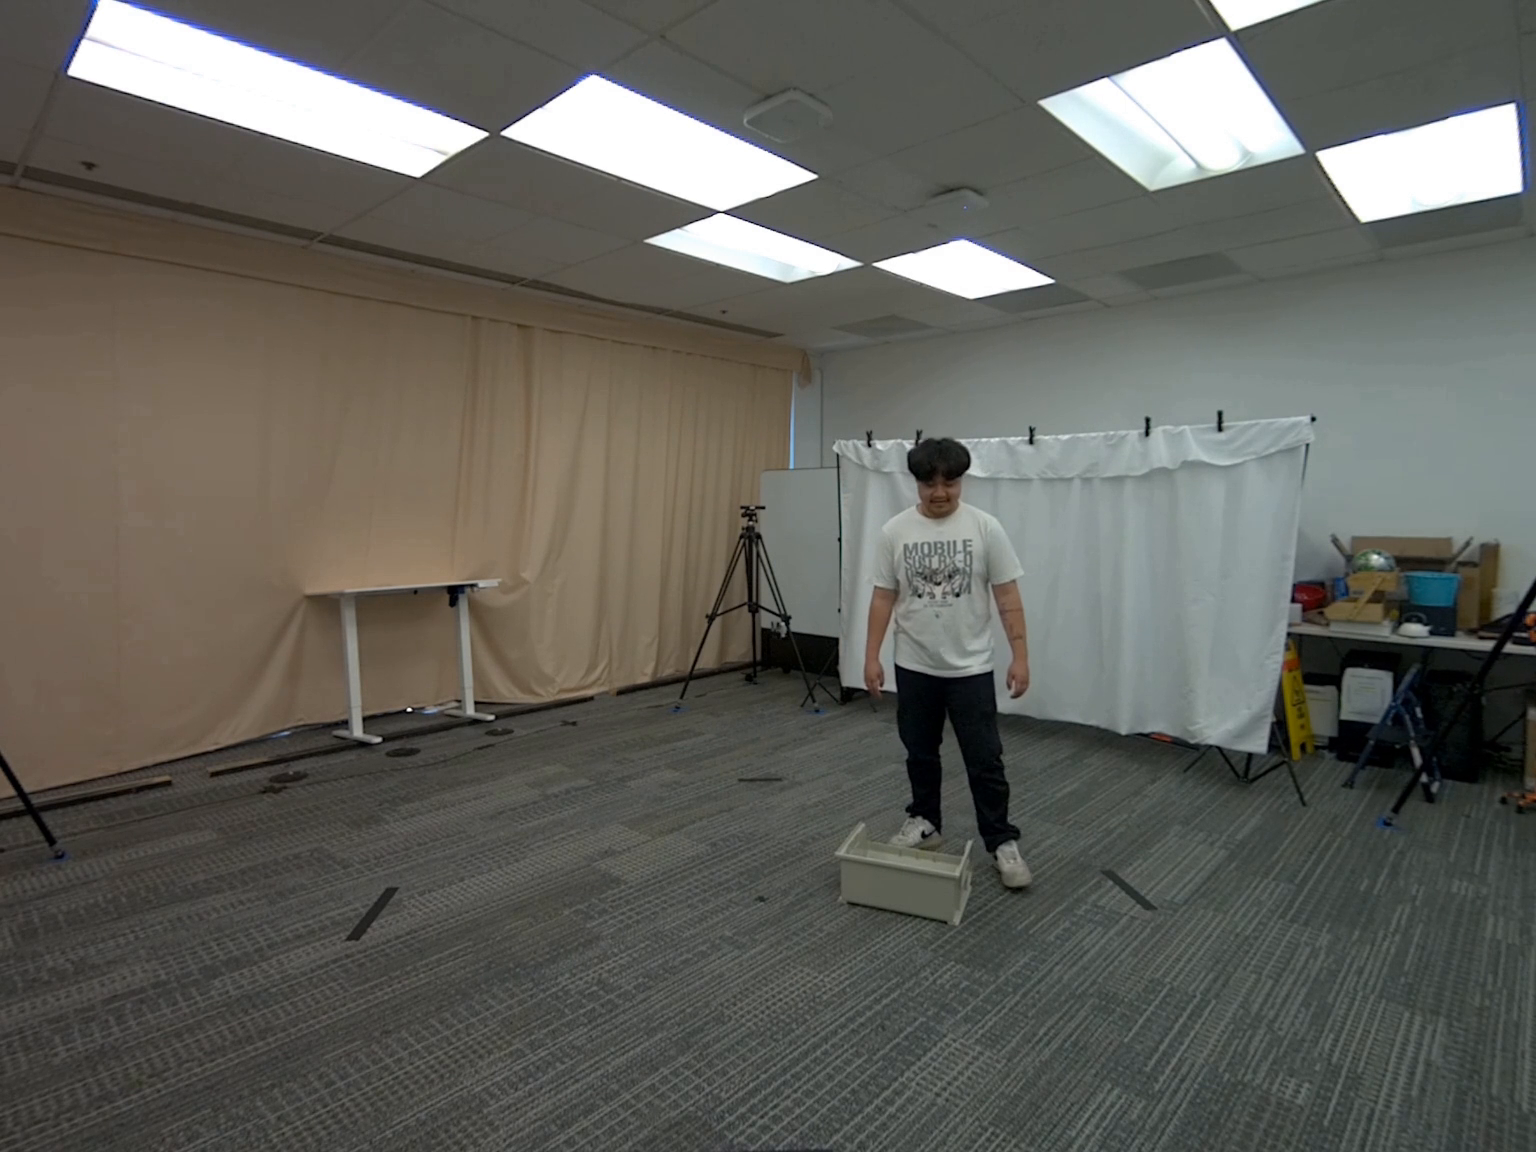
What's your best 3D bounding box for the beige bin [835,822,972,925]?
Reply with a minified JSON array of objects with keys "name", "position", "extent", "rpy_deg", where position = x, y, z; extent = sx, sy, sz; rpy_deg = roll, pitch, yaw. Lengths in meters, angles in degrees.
[{"name":"beige bin","position":[0.502,1.050,3.016],"extent":[0.433,0.188,0.369],"rpy_deg":[2,6,23]}]
